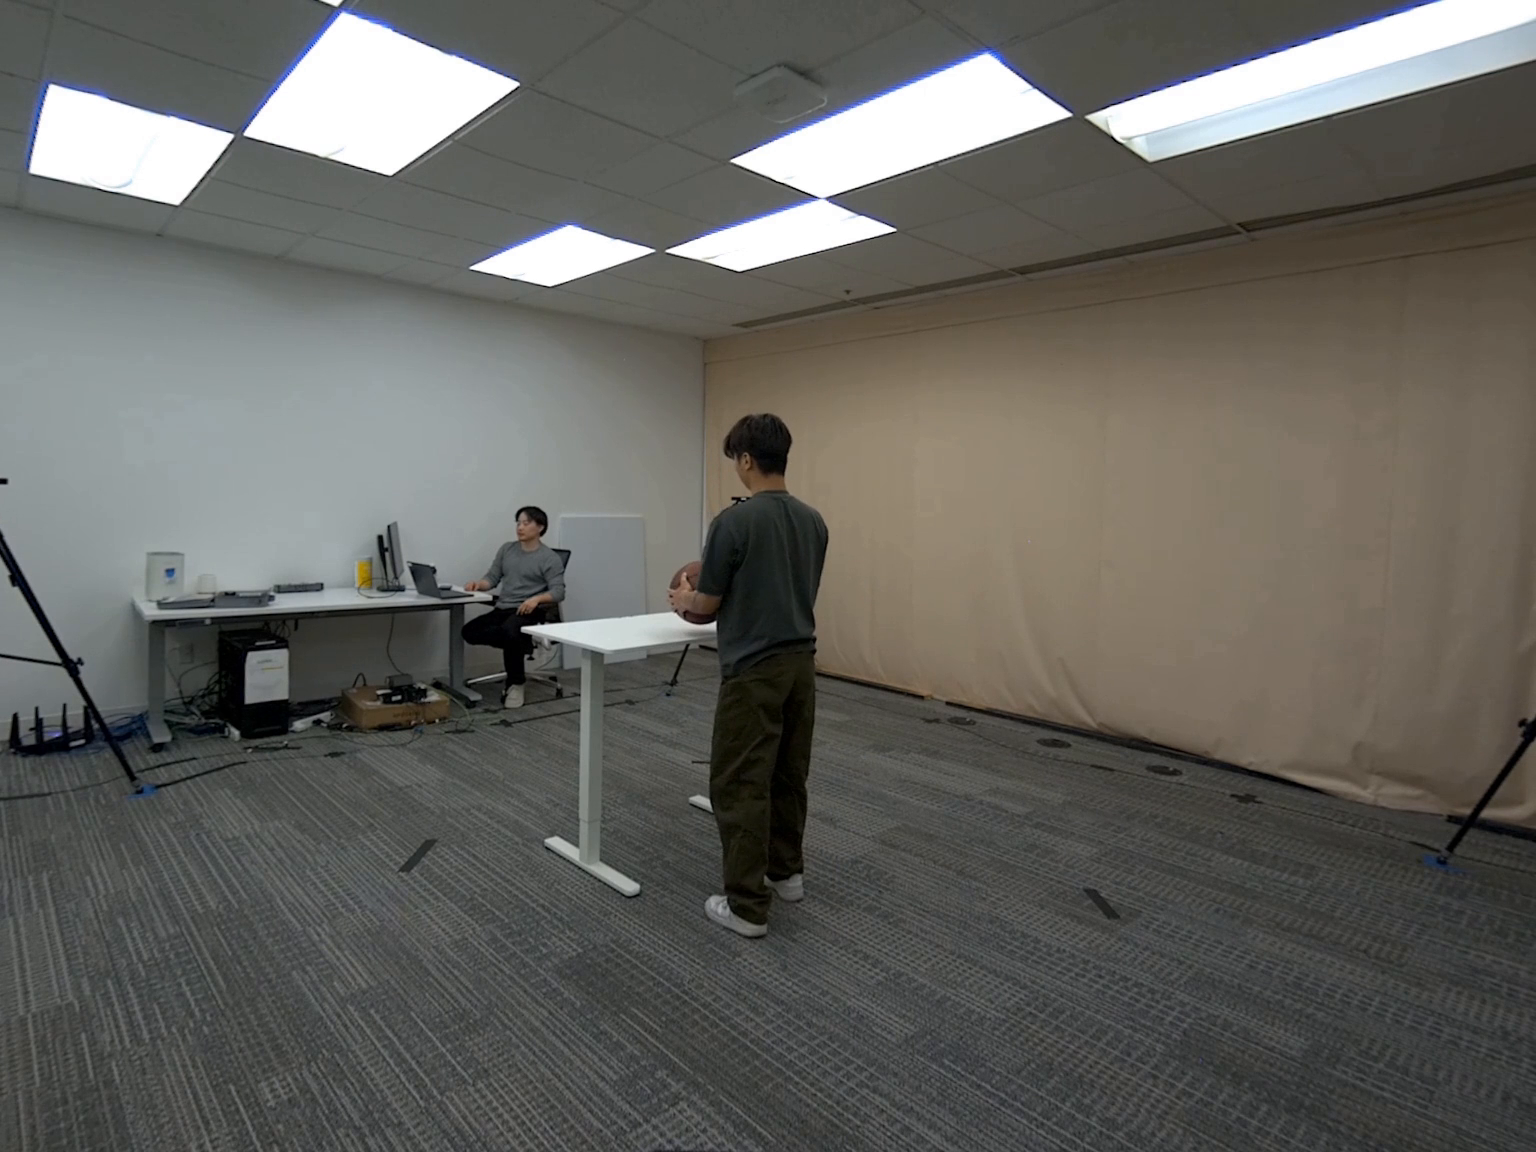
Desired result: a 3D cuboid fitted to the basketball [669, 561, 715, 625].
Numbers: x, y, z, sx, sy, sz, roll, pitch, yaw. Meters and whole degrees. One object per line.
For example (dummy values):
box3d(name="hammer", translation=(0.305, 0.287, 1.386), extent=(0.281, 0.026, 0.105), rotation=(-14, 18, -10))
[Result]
box3d(name="basketball", translation=(-0.253, 0.065, 3.153), extent=(0.236, 0.235, 0.237), rotation=(1, 4, -1))
